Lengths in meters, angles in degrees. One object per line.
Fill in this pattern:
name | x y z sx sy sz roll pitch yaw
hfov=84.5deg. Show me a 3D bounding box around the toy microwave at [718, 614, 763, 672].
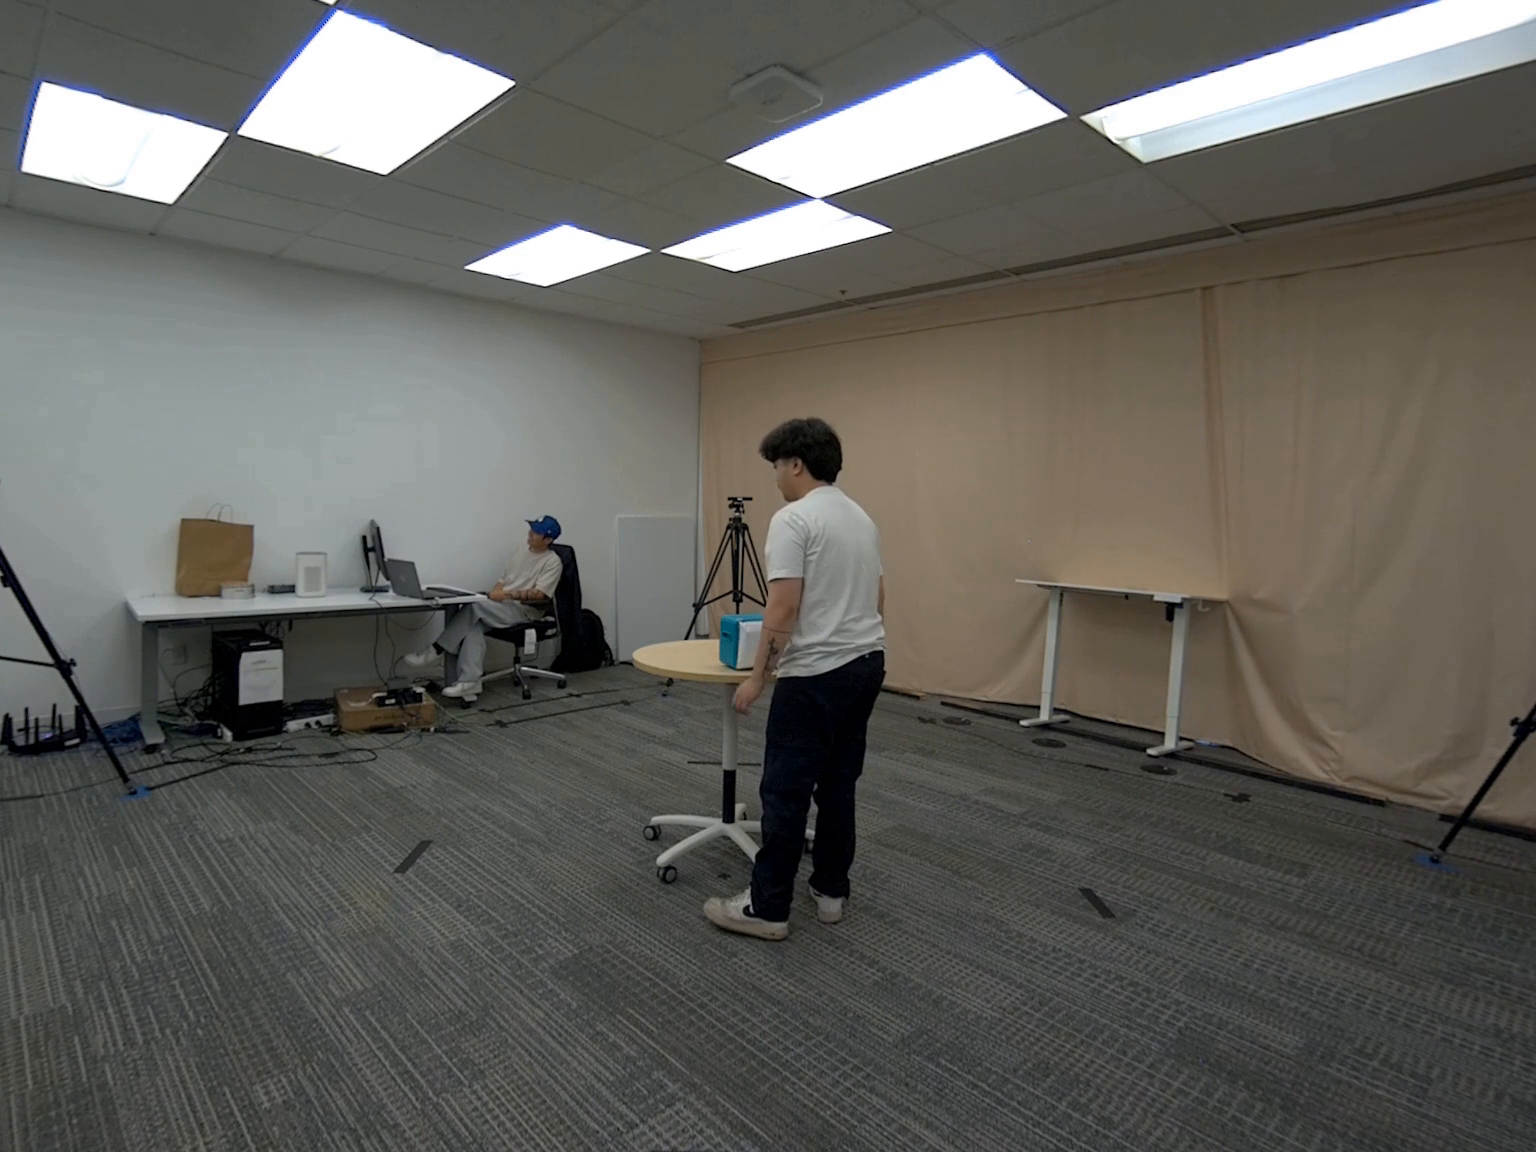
toy microwave | -0.031 0.233 3.028 0.281 0.184 0.155 0 4 -23
